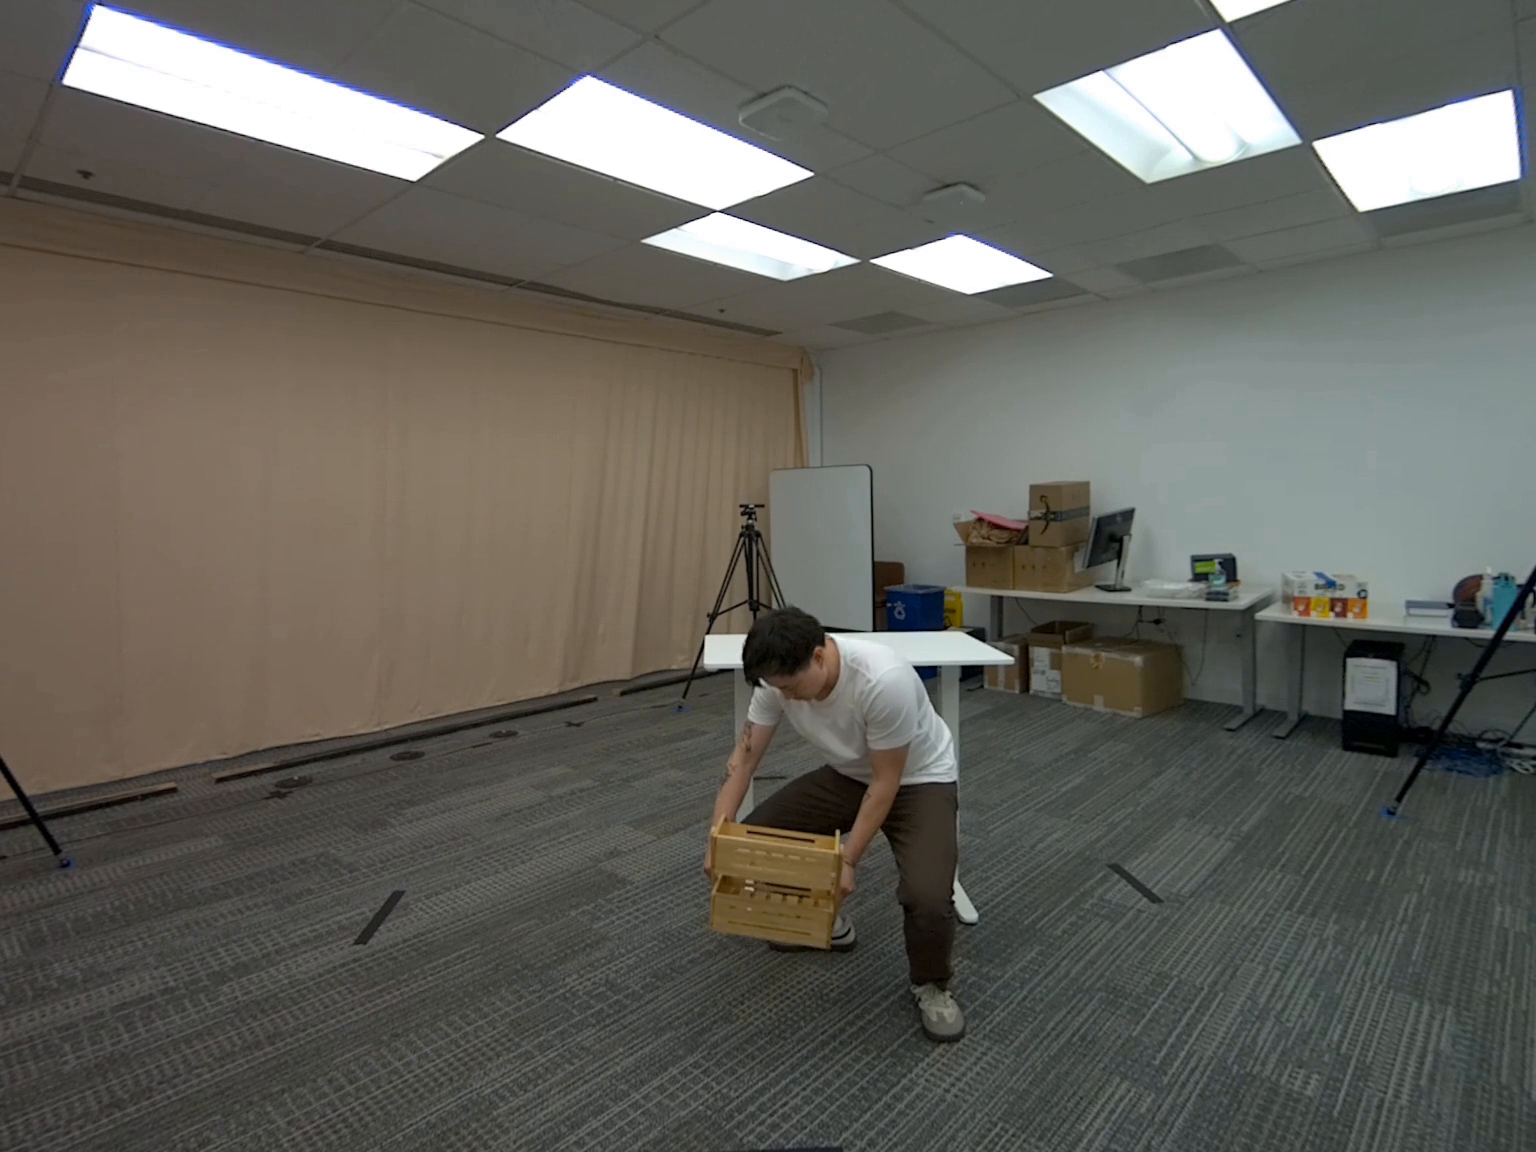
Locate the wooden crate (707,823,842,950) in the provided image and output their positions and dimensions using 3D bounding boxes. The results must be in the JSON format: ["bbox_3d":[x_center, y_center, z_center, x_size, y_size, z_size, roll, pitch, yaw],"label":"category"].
[{"bbox_3d":[0.033,0.757,2.155,0.327,0.273,0.300,5,4,7],"label":"wooden crate"}]
